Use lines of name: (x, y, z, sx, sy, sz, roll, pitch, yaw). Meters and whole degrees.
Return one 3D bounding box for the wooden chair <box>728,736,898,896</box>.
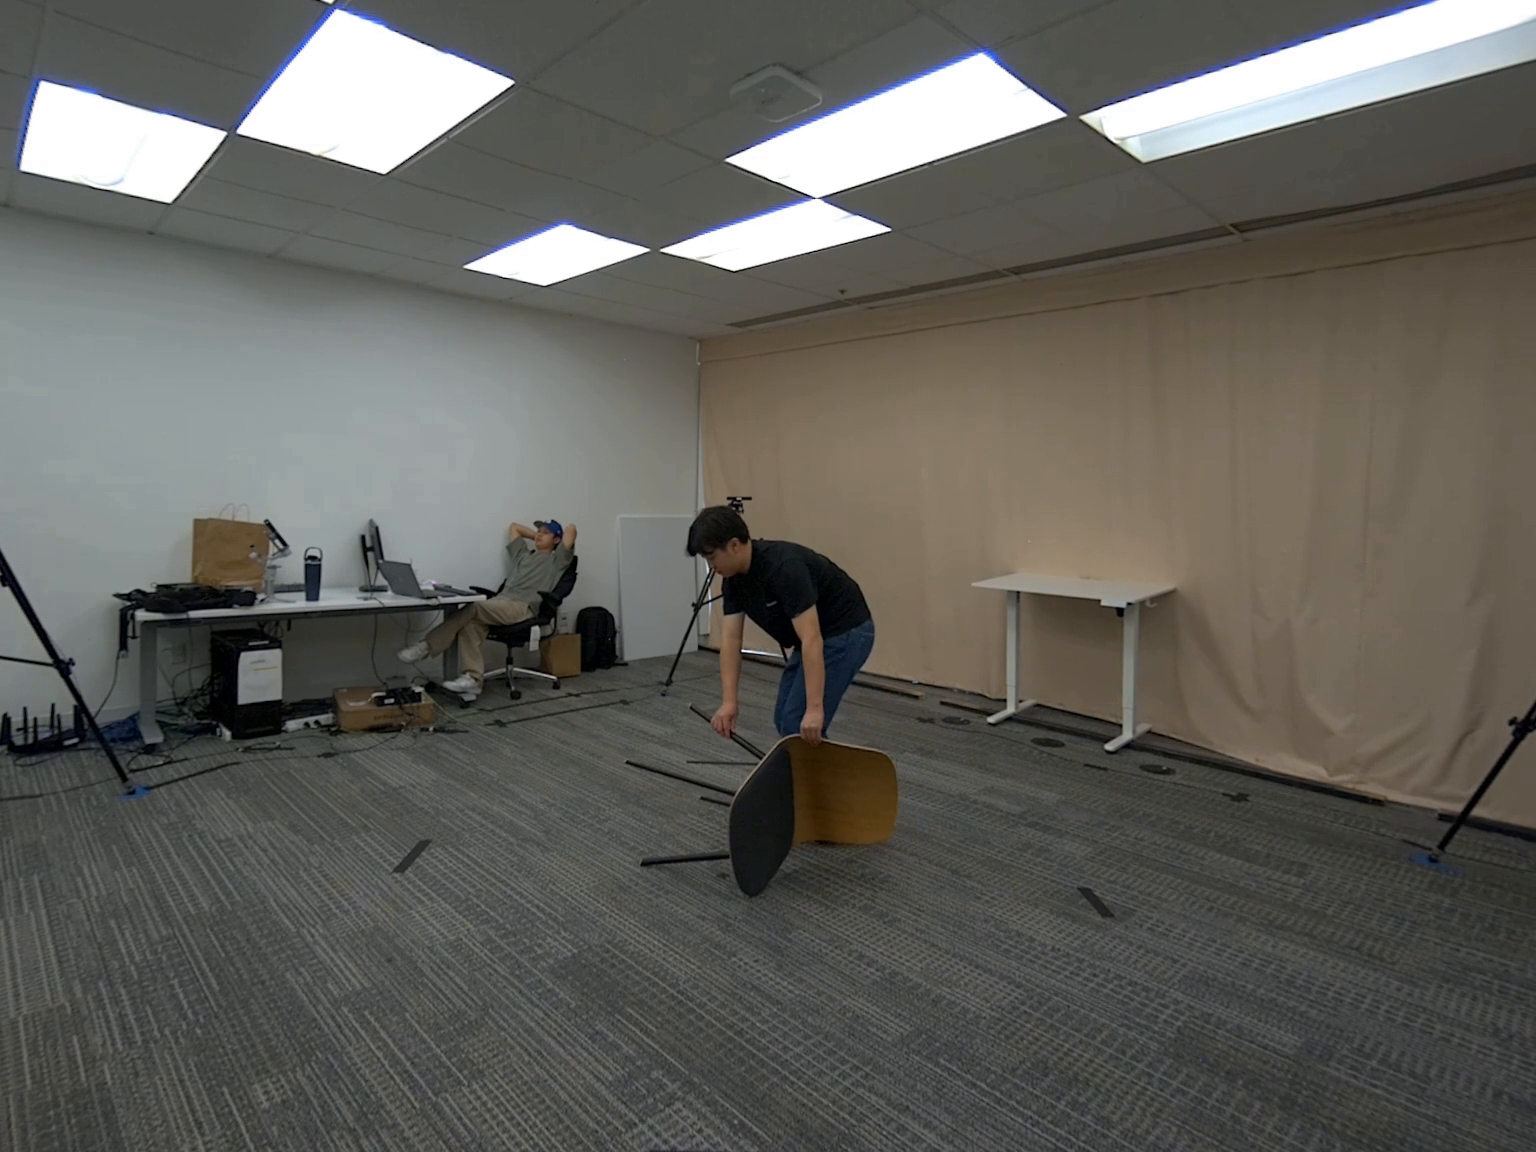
wooden chair: (-0.027, 0.855, 3.073, 0.894, 0.472, 0.520, 4, 20, 24)
